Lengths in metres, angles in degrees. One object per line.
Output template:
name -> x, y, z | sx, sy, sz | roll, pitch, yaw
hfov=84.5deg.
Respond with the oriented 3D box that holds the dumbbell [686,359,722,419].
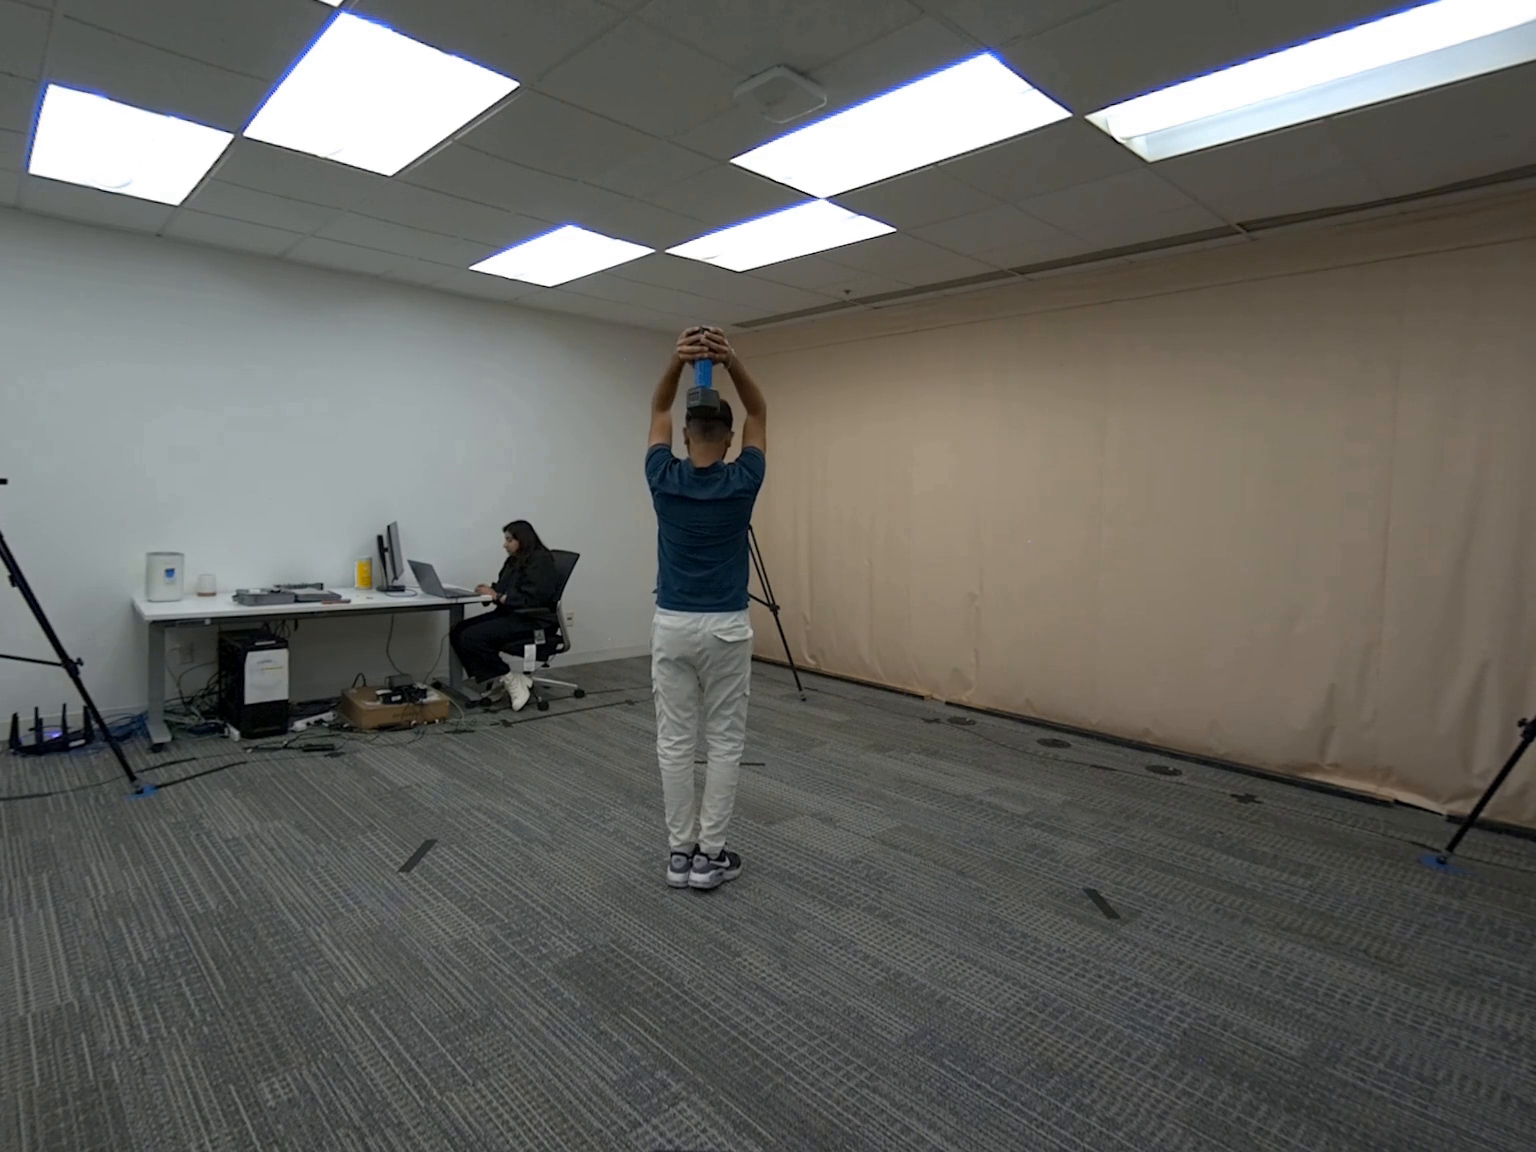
dumbbell -> -0.236, -0.687, 2.850 | 0.109, 0.297, 0.121 | -2, -16, 1
